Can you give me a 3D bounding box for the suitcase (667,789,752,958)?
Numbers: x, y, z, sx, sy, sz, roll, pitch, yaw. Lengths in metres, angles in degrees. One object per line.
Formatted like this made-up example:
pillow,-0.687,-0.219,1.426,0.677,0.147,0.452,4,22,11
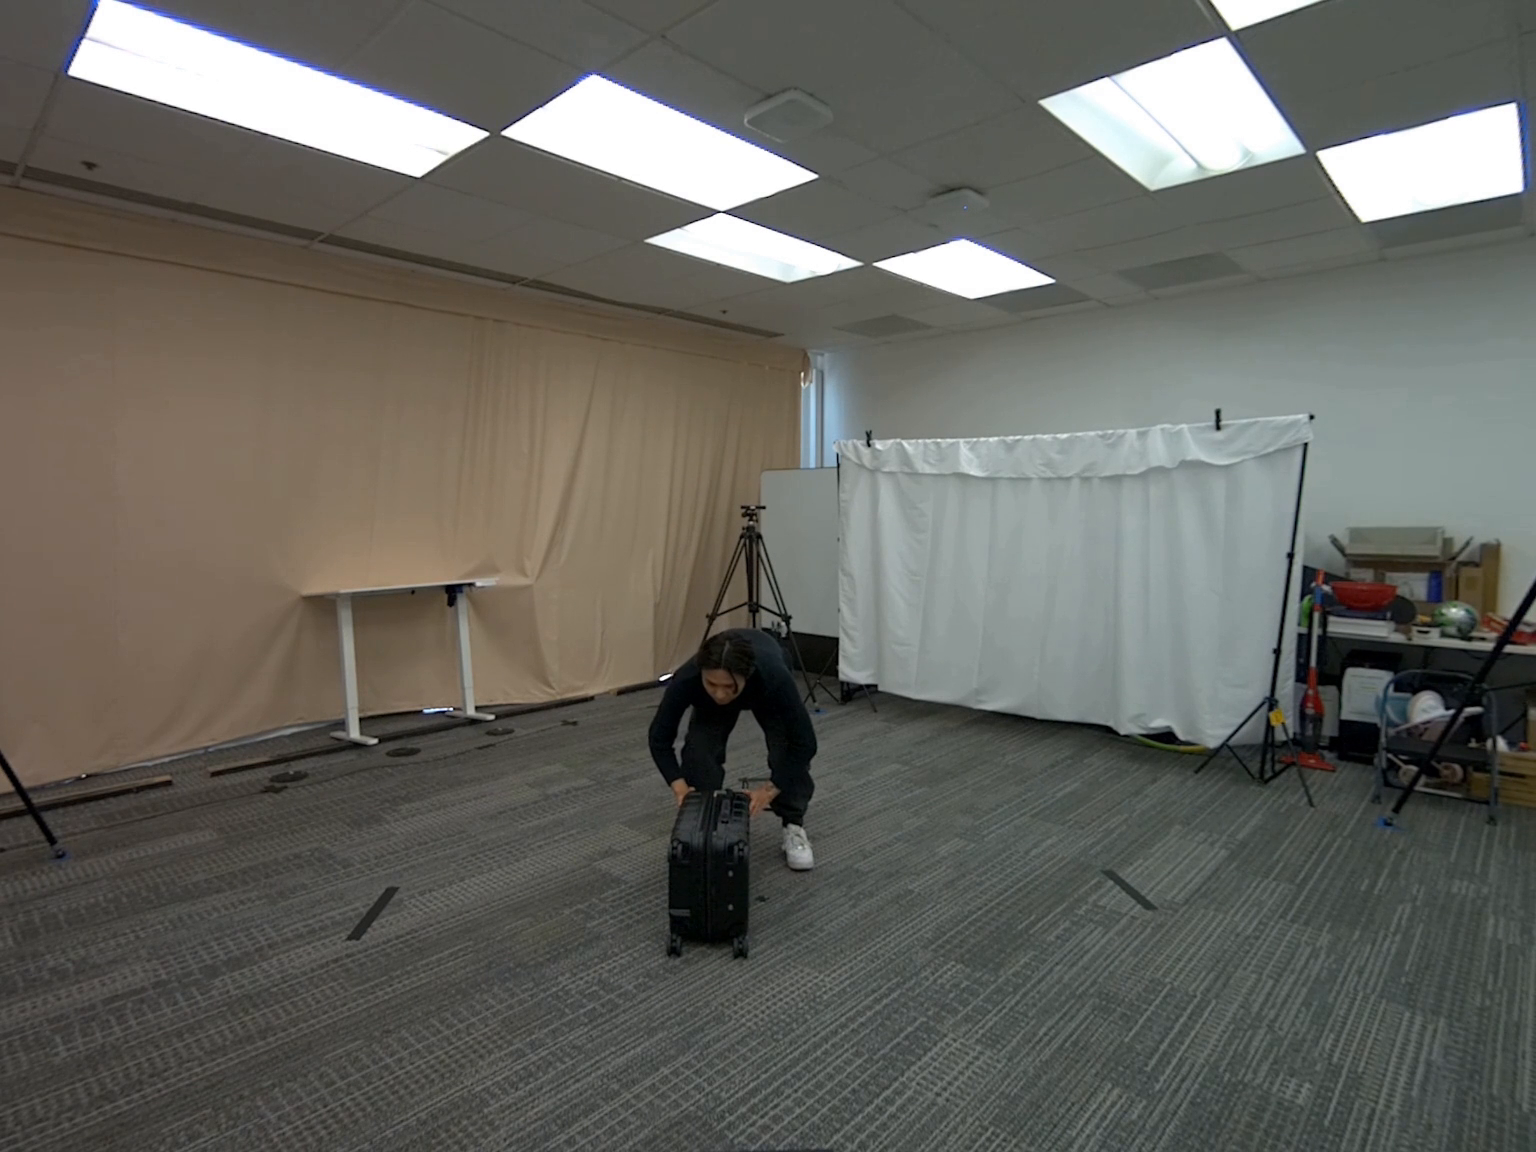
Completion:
suitcase,-0.184,0.950,3.061,0.257,0.383,0.980,2,6,-1
